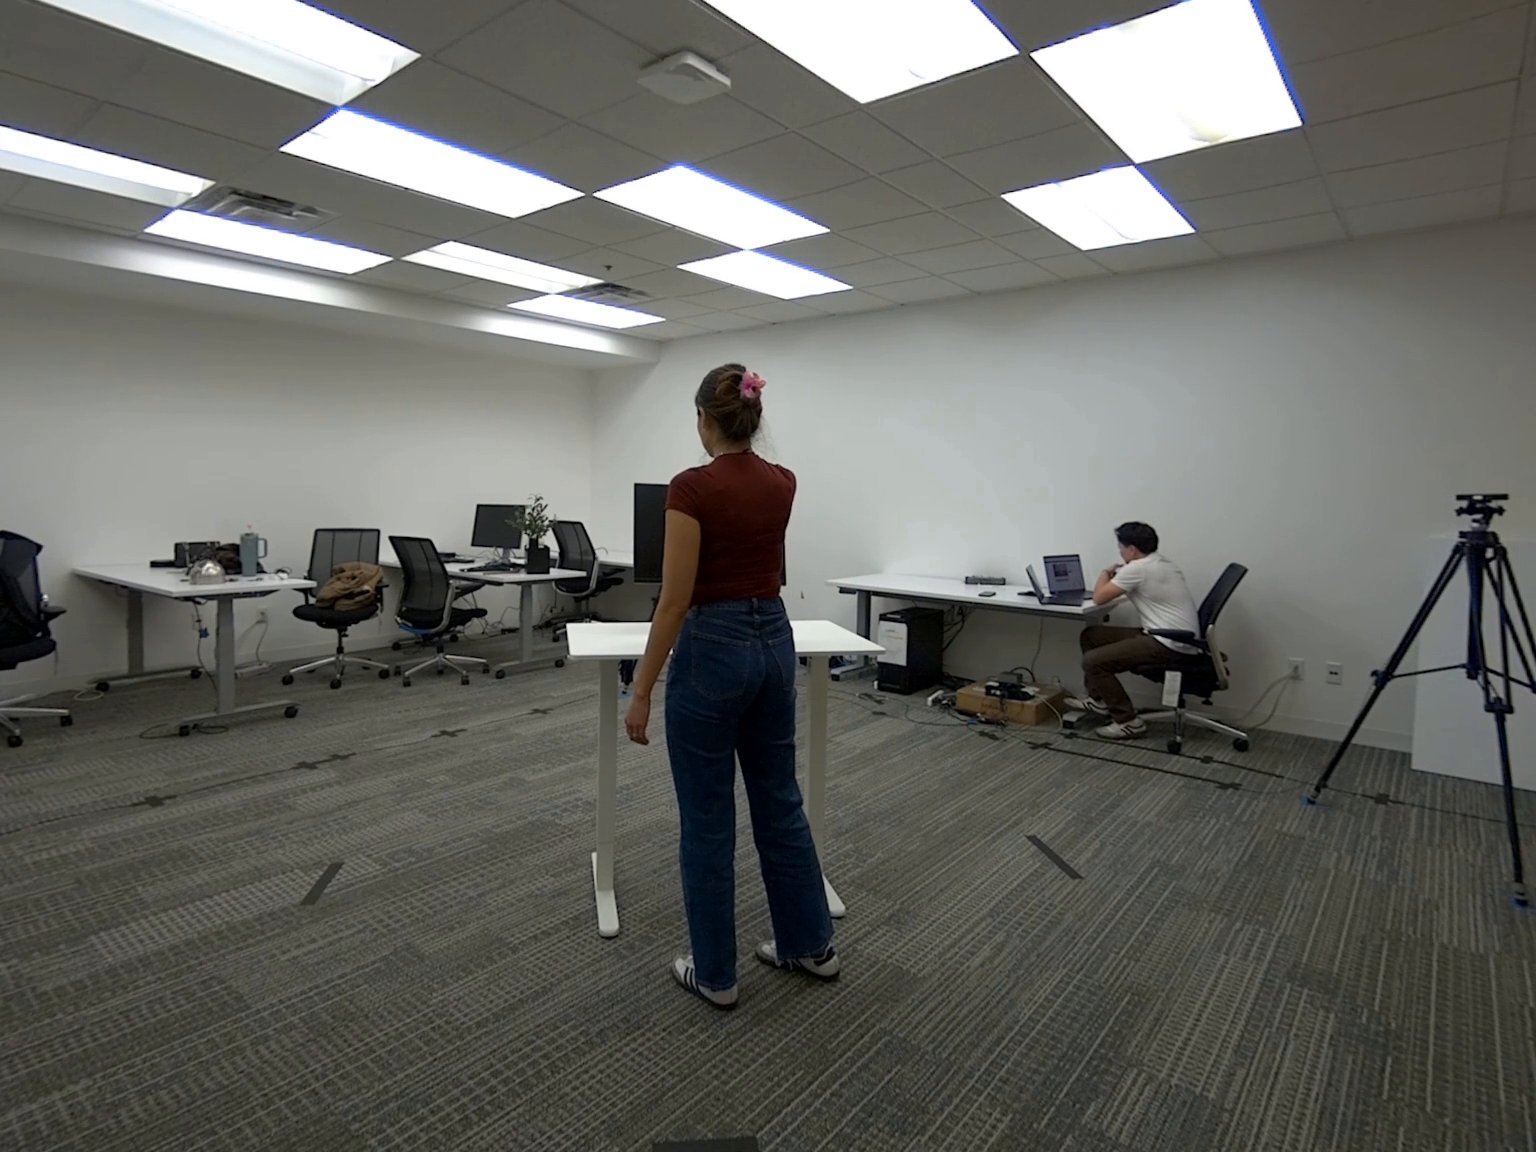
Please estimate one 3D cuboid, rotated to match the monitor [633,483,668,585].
[{"bbox_3d":[-0.220,-0.058,2.992,0.531,0.522,0.190,1,1,-14],"label":"monitor"}]
